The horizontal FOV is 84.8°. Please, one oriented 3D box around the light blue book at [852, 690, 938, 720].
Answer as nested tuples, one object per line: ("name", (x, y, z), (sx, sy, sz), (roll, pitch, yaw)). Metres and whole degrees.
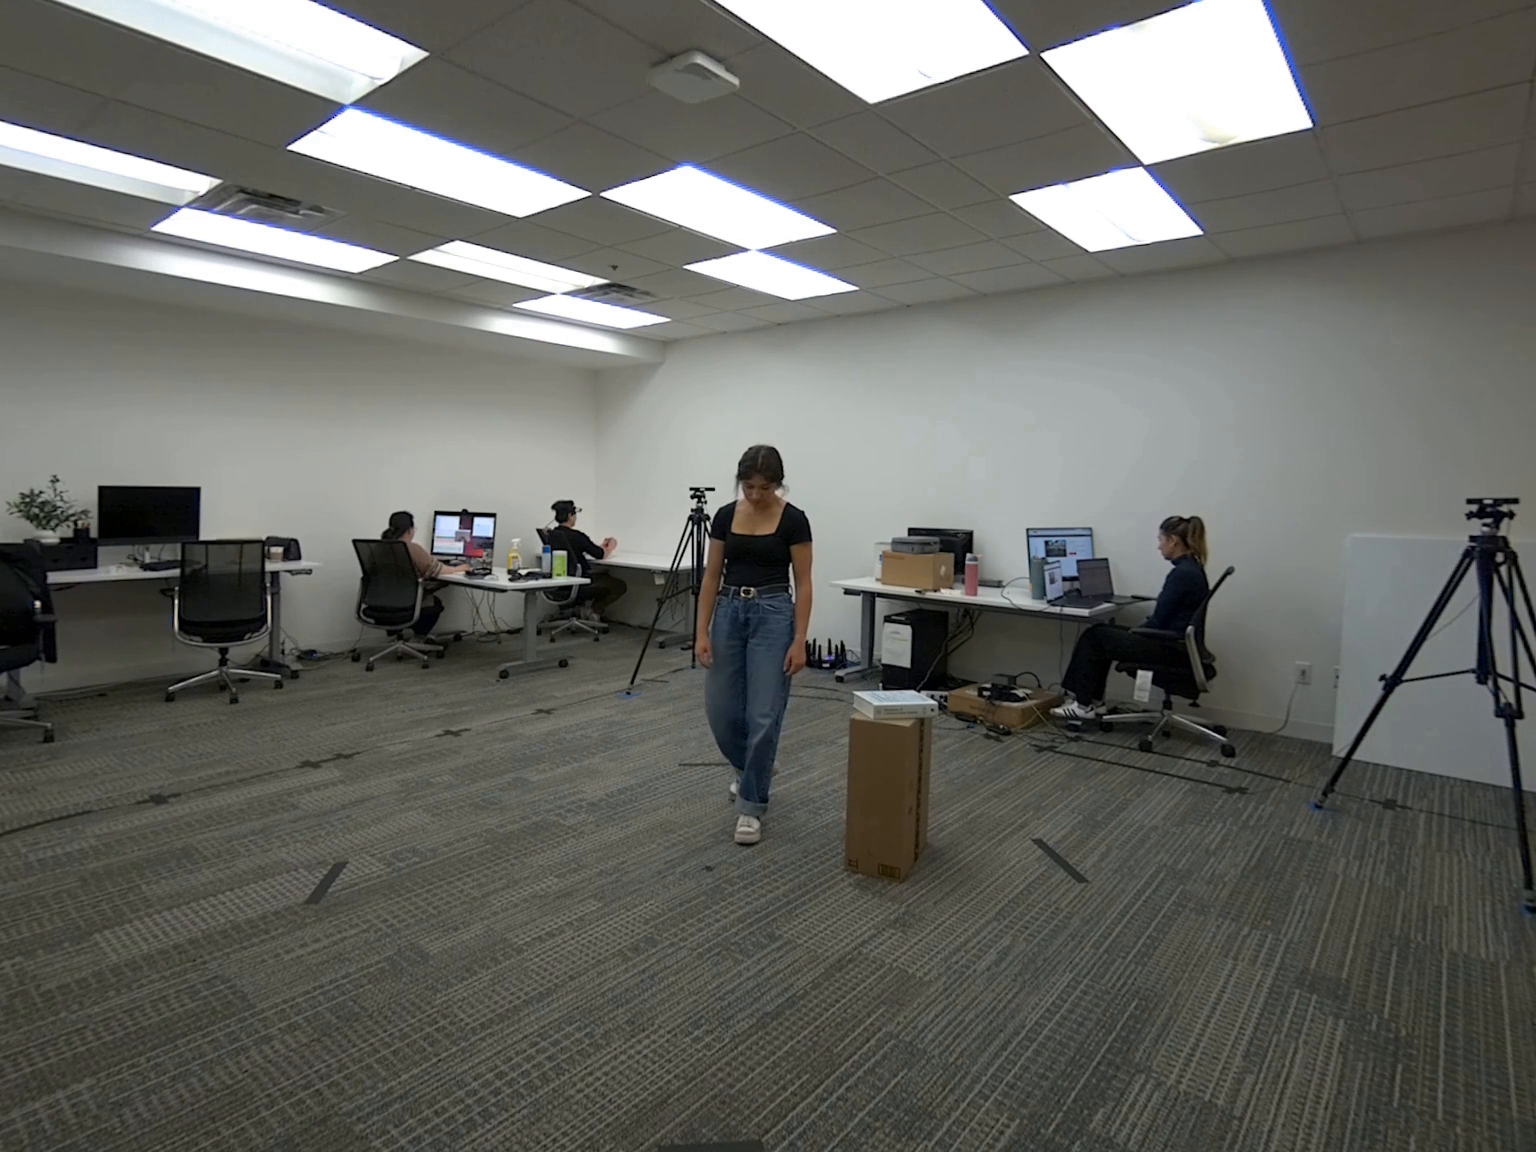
("light blue book", (0.475, 0.481, 3.197), (0.257, 0.059, 0.195), (0, 6, -17))
